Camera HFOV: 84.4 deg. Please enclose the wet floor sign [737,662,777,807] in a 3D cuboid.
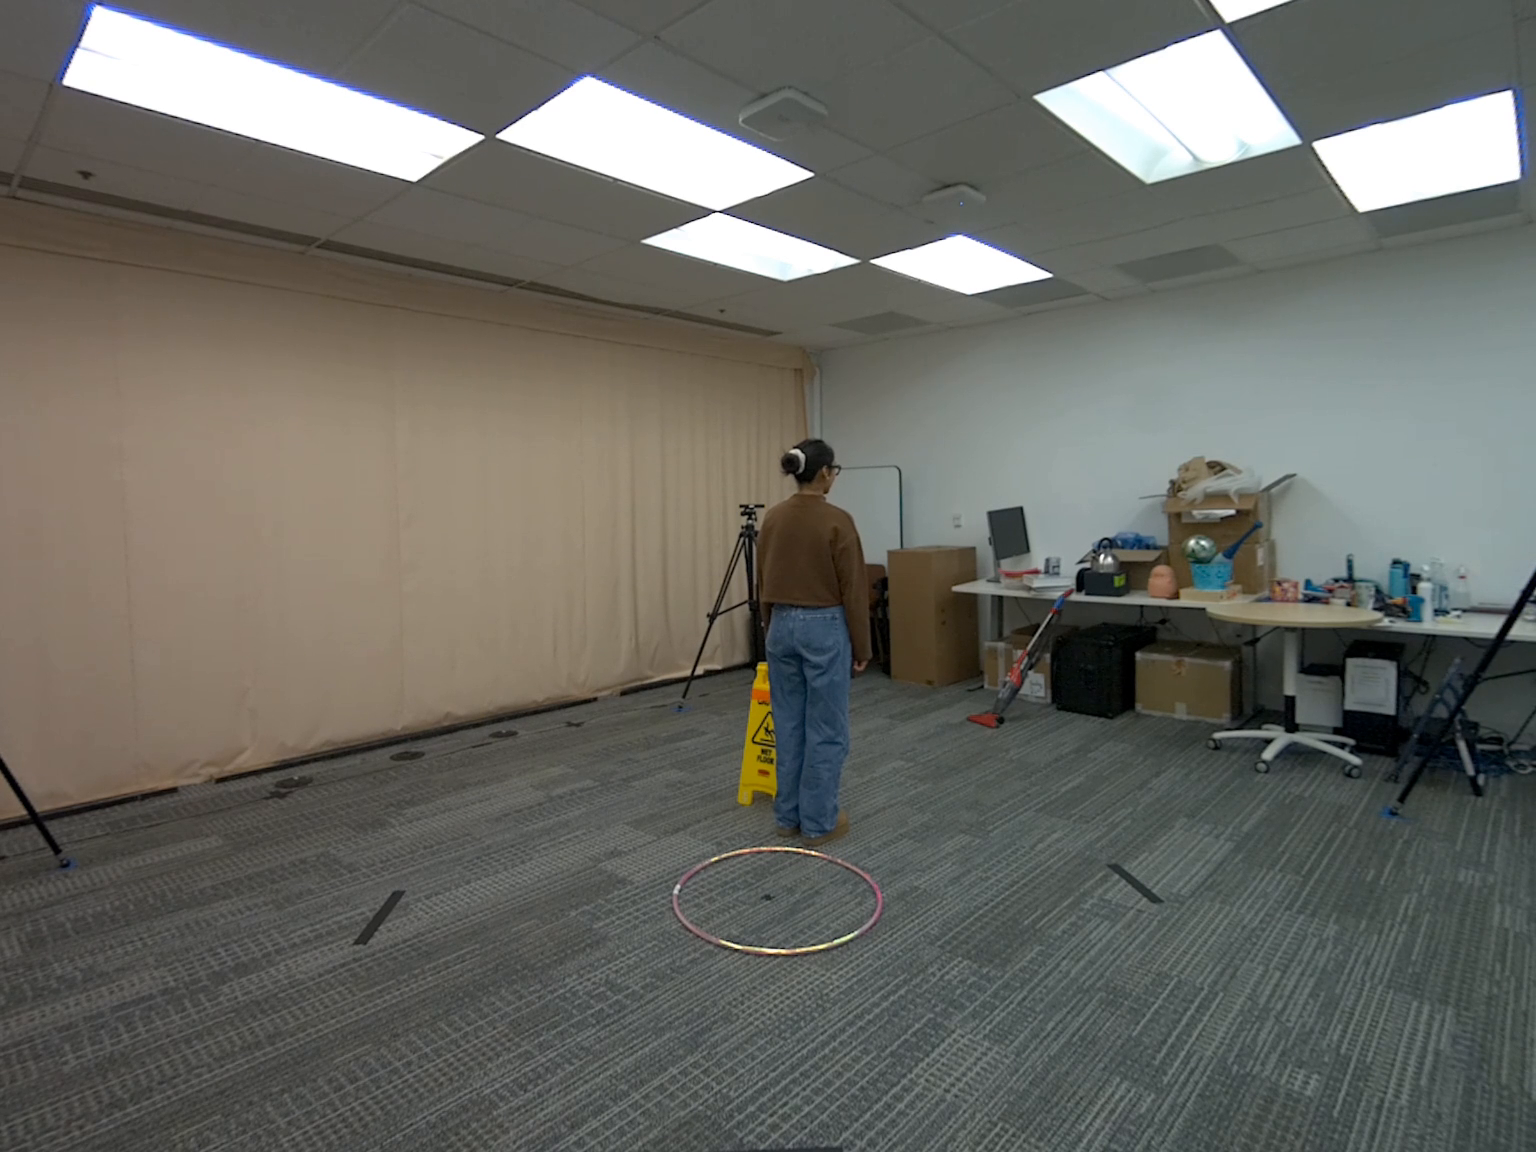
[{"bbox_3d":[0.041,0.734,3.963,0.291,0.645,0.281,2,4,36],"label":"wet floor sign"}]
